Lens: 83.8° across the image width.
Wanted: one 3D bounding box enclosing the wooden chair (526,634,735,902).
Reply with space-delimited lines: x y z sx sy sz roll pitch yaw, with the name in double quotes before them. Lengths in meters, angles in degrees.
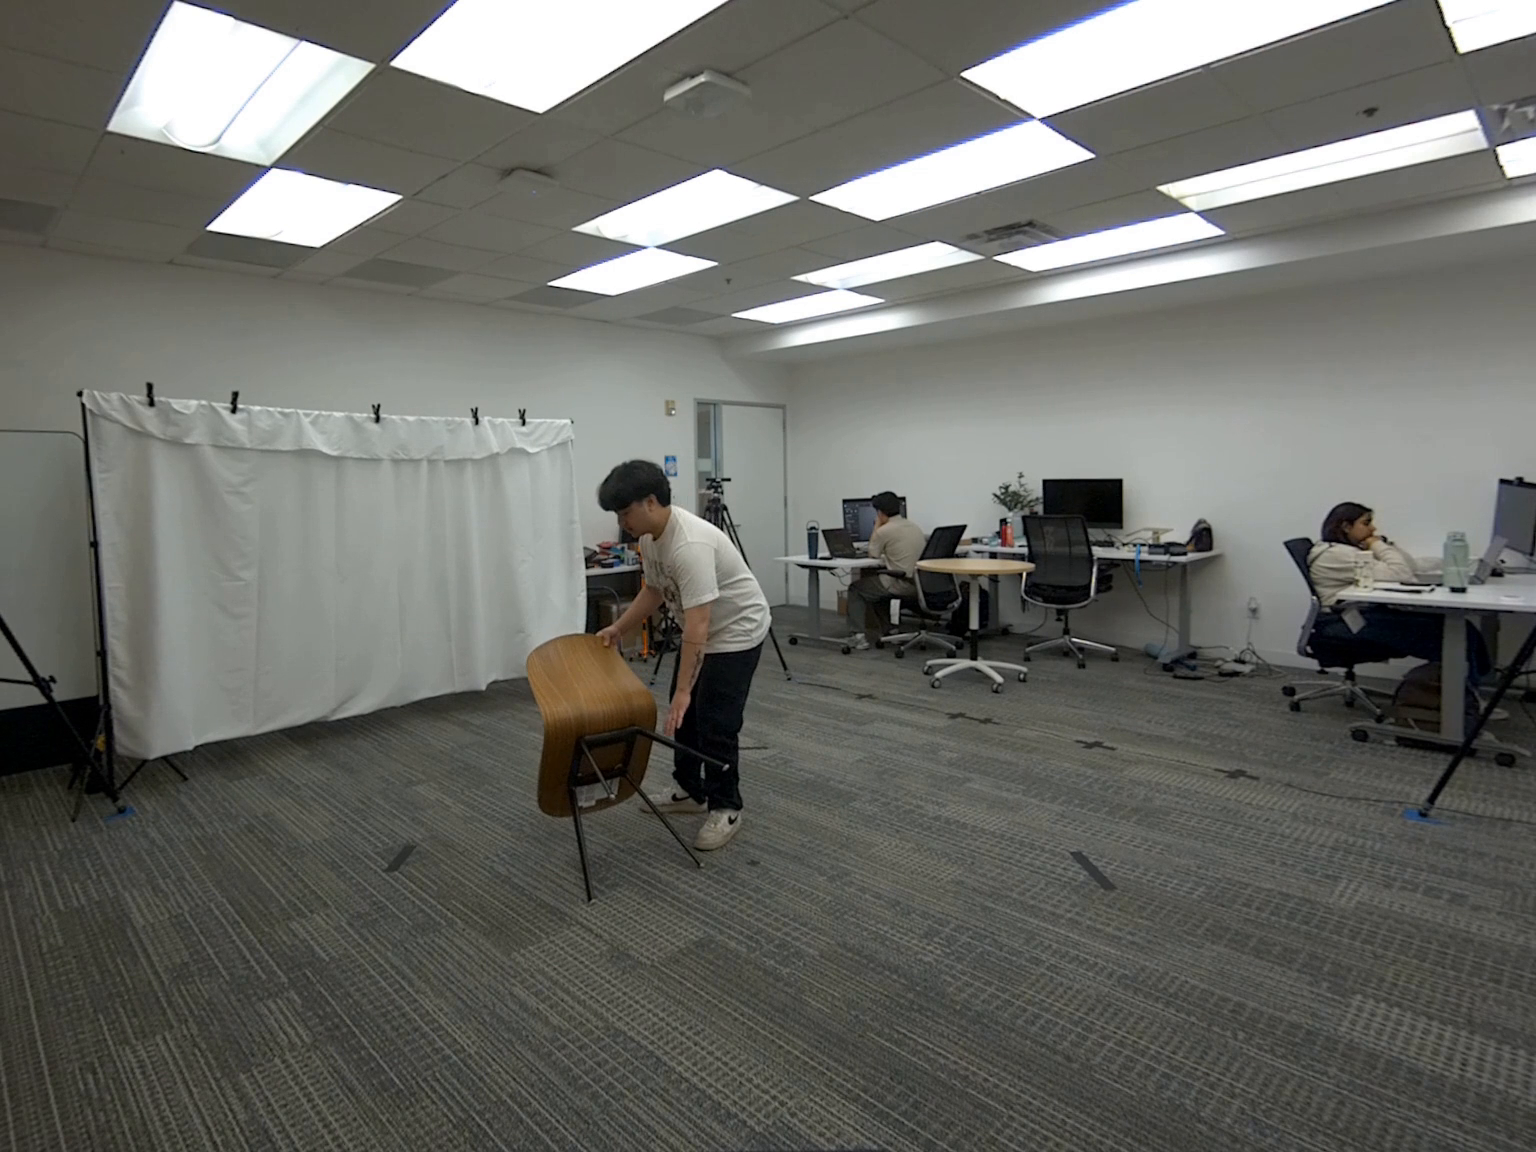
"wooden chair" -0.610 0.679 3.177 0.466 0.515 0.913 -6 33 -37
